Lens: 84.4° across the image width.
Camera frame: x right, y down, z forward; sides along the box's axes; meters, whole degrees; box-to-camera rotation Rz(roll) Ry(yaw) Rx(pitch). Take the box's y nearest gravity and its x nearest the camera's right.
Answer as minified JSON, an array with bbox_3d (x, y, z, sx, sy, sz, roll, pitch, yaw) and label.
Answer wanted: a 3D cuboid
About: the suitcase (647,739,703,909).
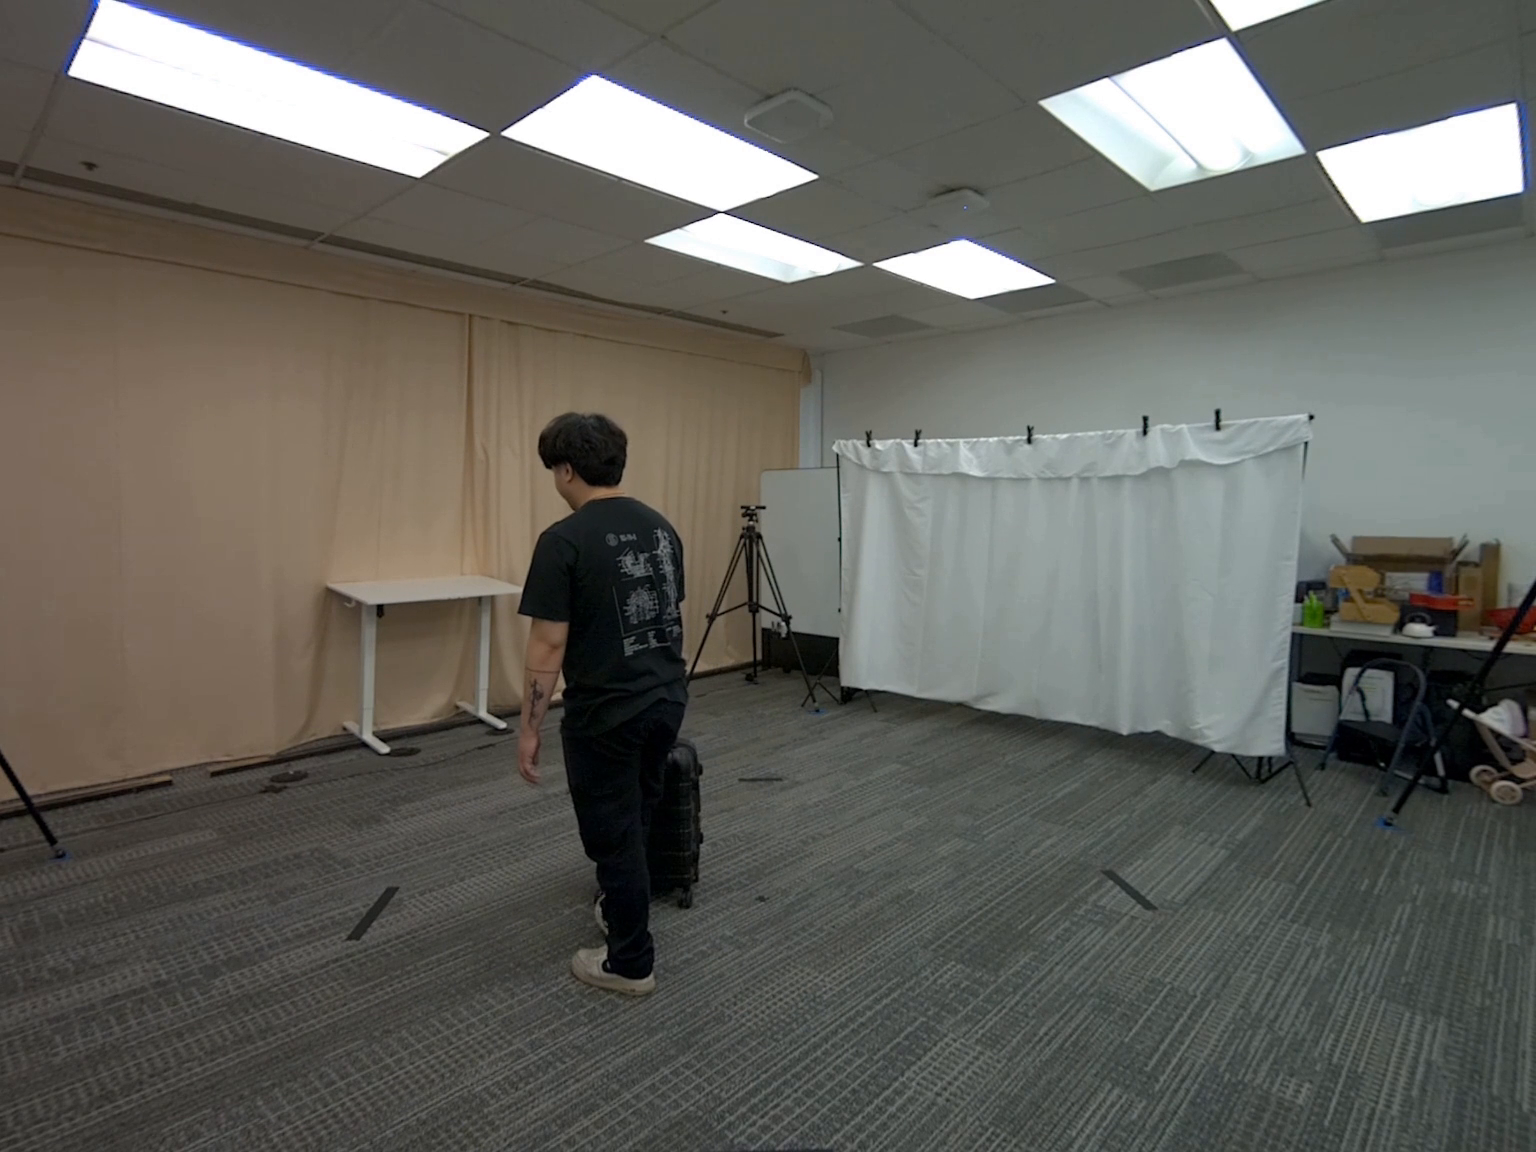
[{"bbox_3d":[-0.433,0.863,3.040,0.377,0.549,0.247,-1,1,3],"label":"suitcase"}]
